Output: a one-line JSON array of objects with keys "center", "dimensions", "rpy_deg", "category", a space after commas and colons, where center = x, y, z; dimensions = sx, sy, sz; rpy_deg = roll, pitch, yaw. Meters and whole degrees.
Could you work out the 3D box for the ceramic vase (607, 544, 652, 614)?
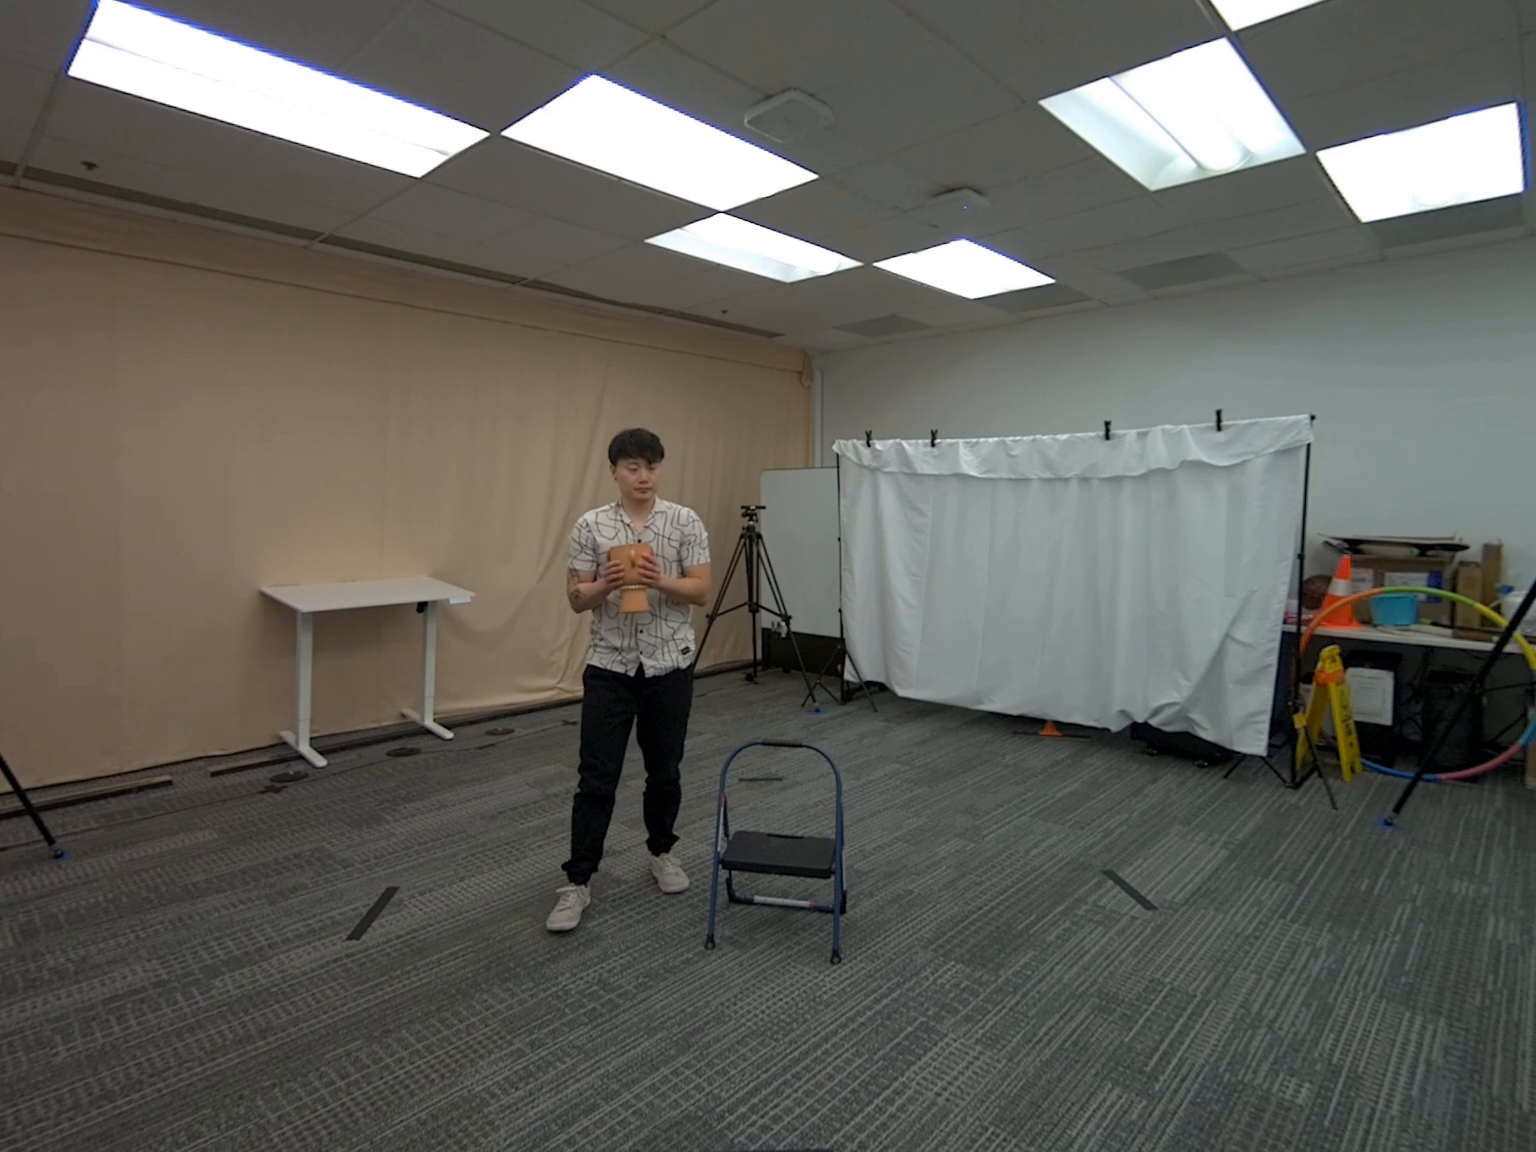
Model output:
[{"center": [-0.449, 0.007, 2.771], "dimensions": [0.138, 0.220, 0.154], "rpy_deg": [-6, -5, 29], "category": "ceramic vase"}]
